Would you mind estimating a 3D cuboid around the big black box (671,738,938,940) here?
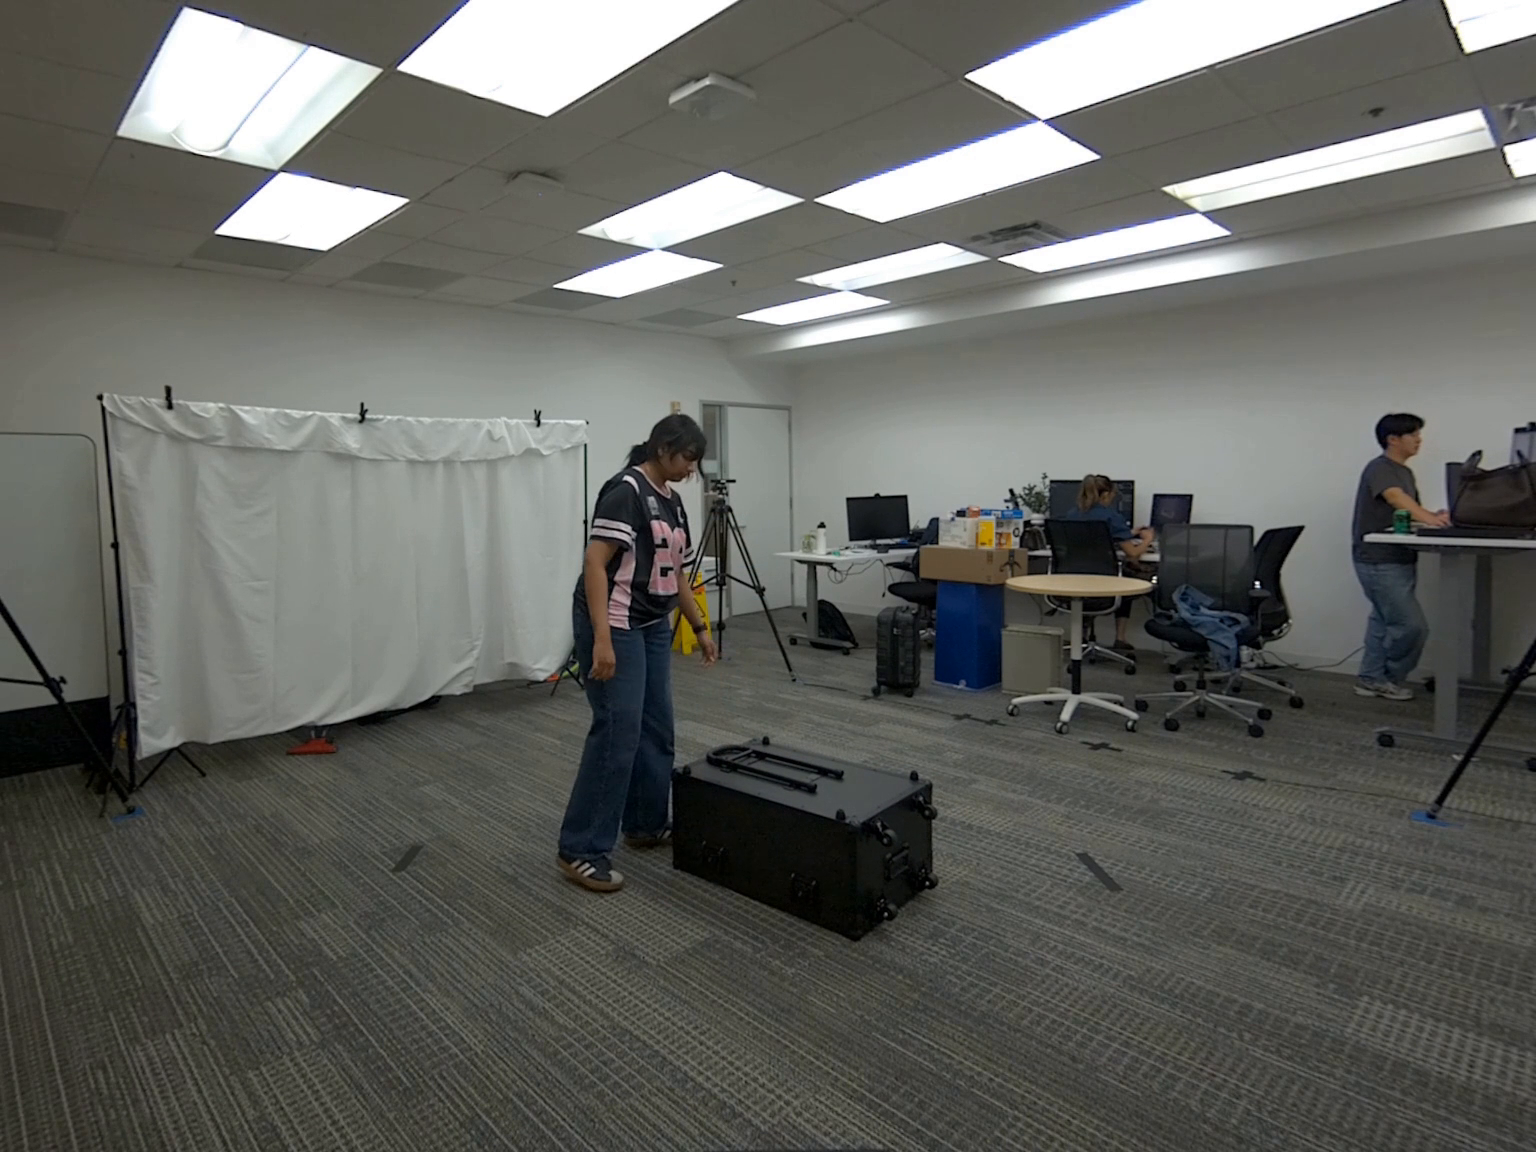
[{"bbox_3d":[0.143,0.873,2.977,0.895,0.384,0.509,4,6,40],"label":"big black box"}]
